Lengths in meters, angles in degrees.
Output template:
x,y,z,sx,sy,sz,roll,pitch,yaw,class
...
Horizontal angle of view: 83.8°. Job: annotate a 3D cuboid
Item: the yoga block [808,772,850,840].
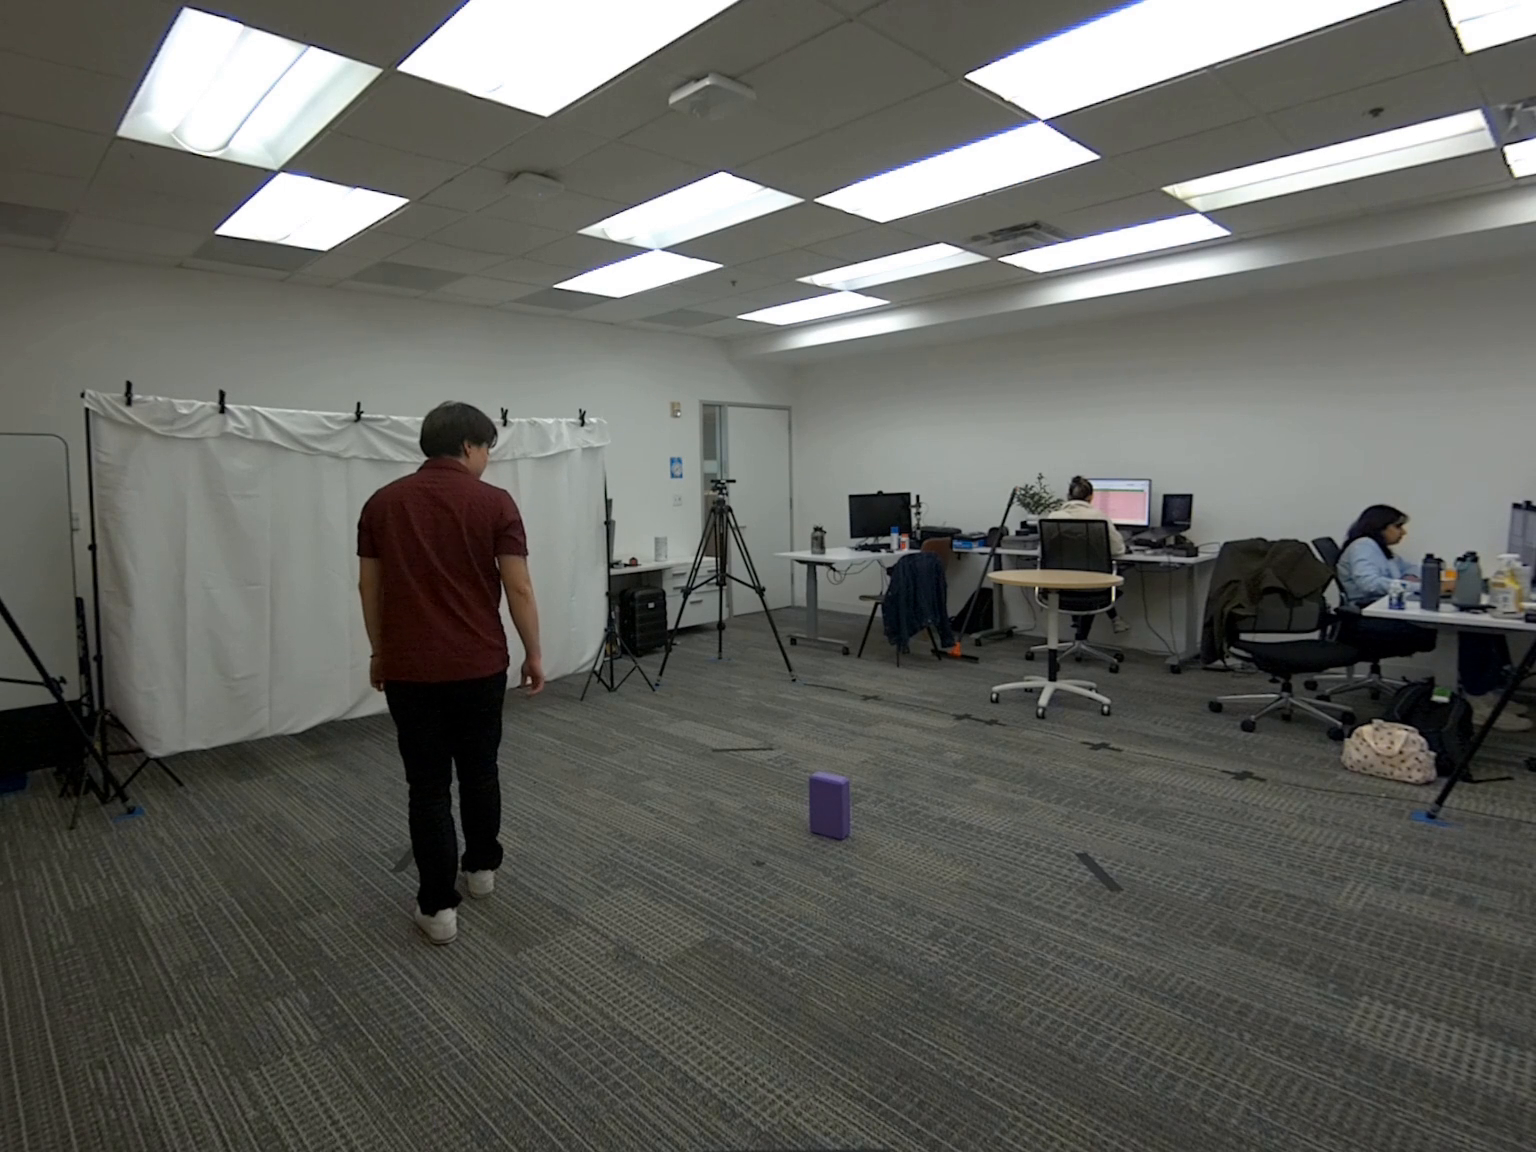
x,y,z,sx,sy,sz,roll,pitch,yaw,class
0.243,0.899,3.354,0.153,0.228,0.074,3,5,35,yoga block
